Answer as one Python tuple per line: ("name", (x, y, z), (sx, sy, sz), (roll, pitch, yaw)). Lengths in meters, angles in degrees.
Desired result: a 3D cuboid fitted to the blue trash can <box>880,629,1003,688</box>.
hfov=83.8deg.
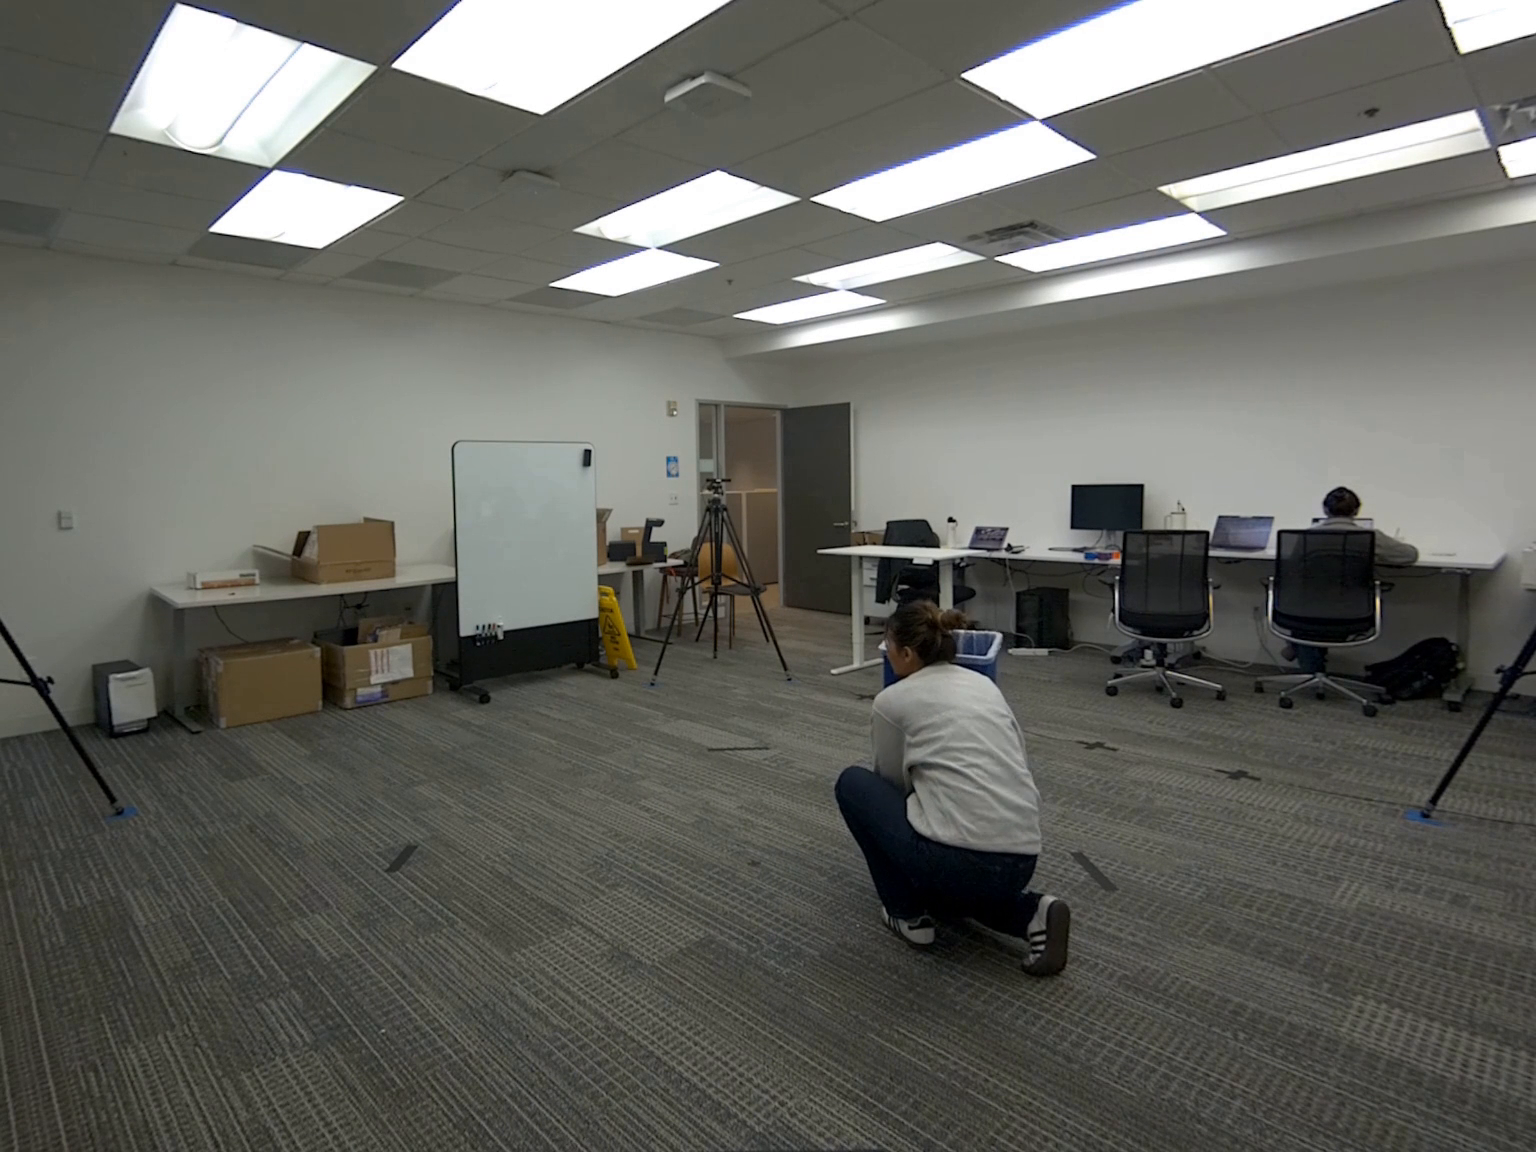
("blue trash can", (0.607, 0.568, 2.962), (0.386, 0.709, 0.369), (2, 7, 21))
